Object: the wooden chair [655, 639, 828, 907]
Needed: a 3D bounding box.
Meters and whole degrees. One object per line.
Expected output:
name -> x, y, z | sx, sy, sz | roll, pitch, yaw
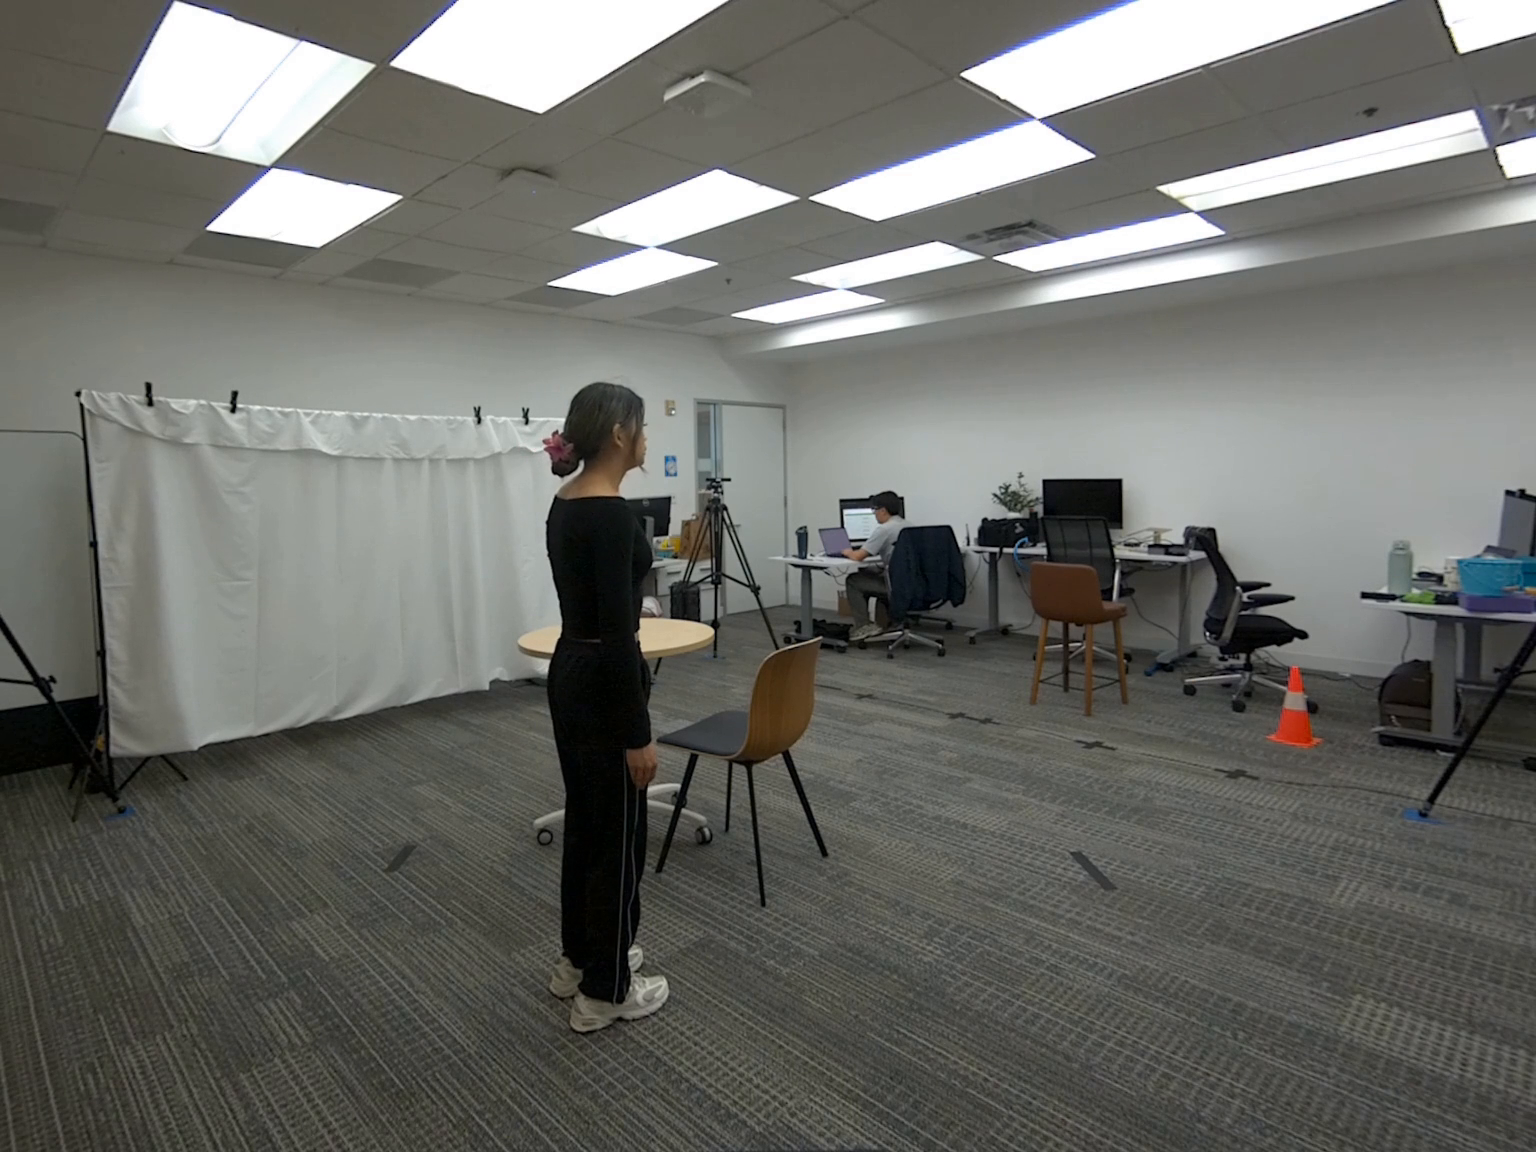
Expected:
wooden chair -> -0.100, 0.619, 3.062 | 0.539, 0.872, 0.467 | 7, 8, 33
